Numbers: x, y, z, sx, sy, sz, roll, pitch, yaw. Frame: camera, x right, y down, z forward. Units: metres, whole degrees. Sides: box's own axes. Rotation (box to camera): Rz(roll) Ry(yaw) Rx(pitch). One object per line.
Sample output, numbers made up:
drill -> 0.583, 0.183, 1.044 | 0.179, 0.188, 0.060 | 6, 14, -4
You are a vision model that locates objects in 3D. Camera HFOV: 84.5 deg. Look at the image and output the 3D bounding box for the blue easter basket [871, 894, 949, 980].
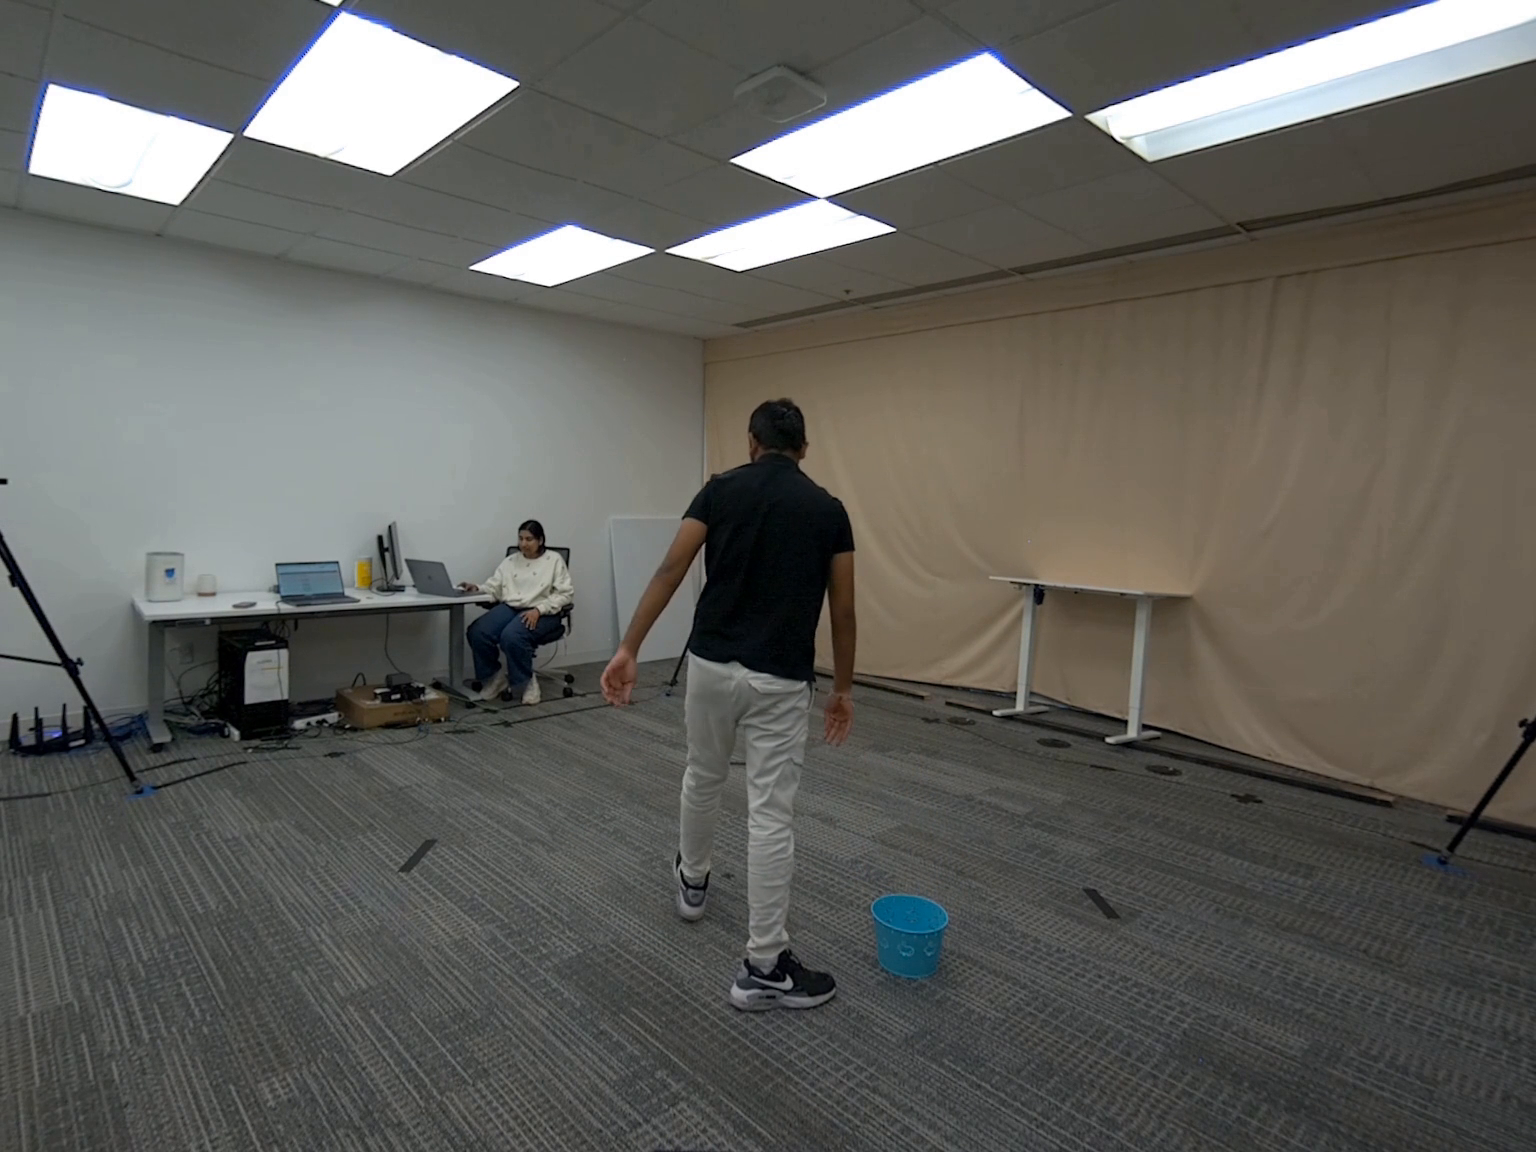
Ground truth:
blue easter basket -> 0.425, 1.094, 2.555 | 0.243, 0.155, 0.244 | 2, 5, -1
